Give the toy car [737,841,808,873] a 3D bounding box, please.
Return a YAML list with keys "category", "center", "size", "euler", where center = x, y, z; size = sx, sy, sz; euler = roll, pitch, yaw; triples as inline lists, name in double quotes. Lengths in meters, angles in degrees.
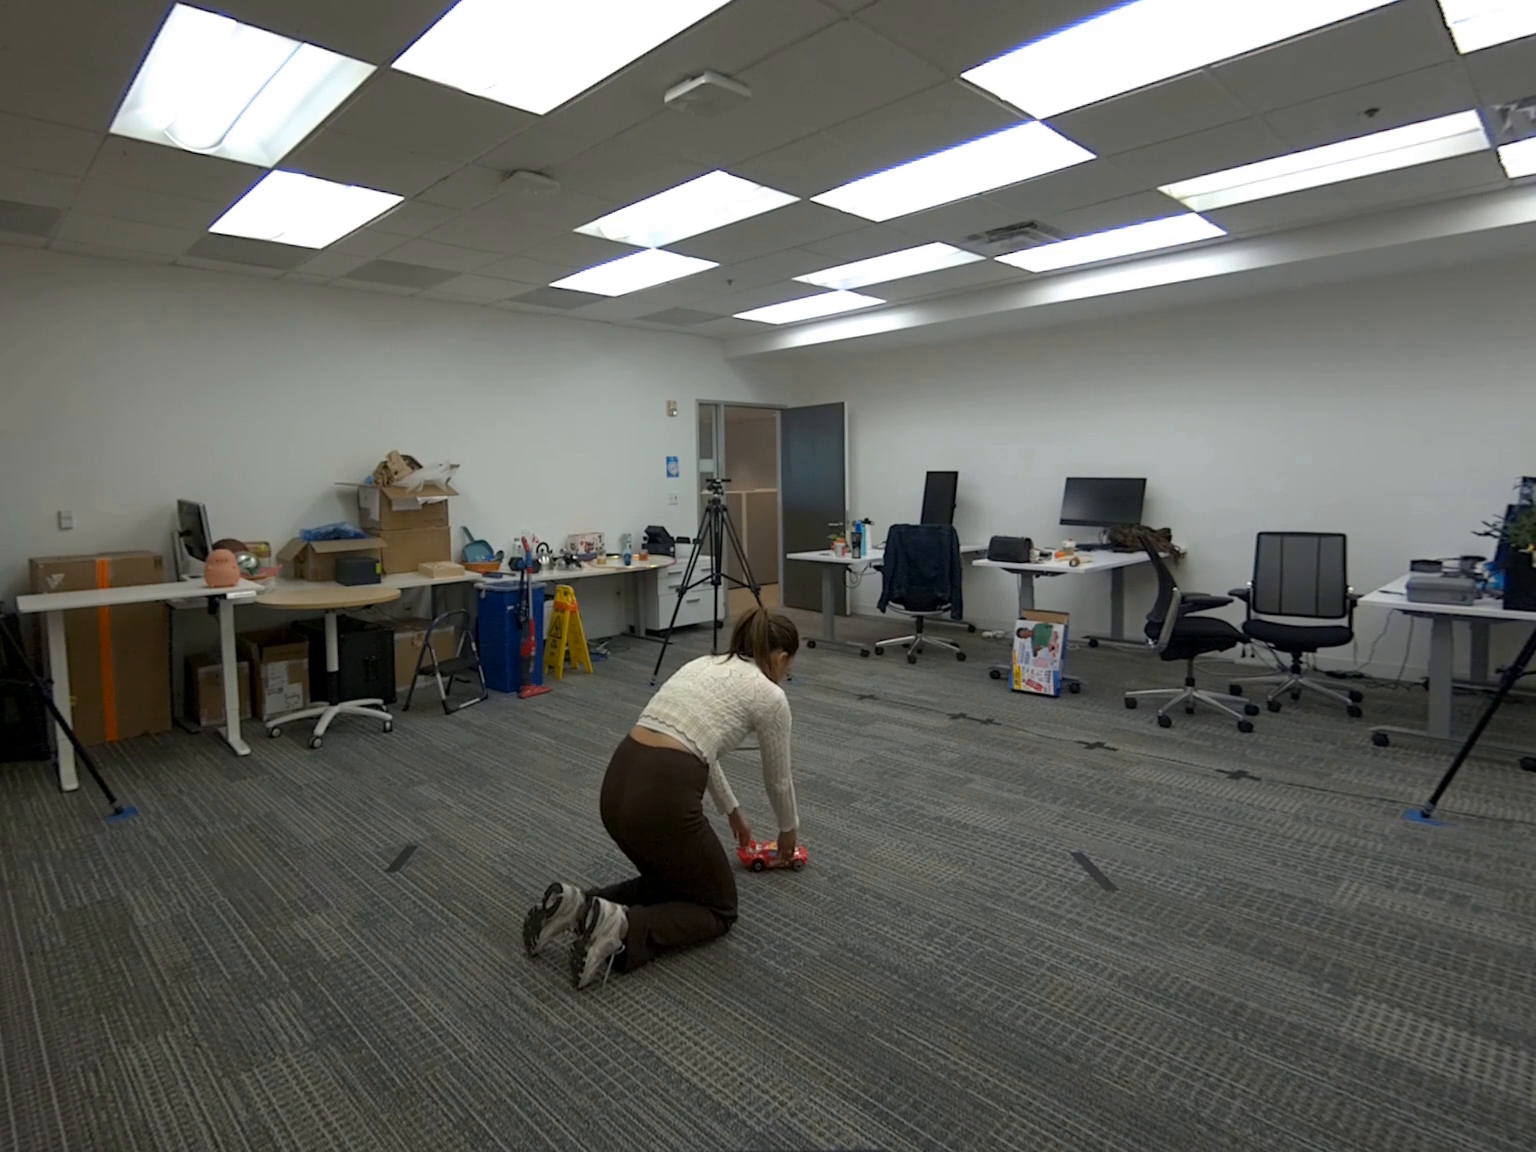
- category: "toy car"
  center: [0.015, 1.014, 3.085]
  size: [0.253, 0.083, 0.131]
  euler: [9, 4, -4]
